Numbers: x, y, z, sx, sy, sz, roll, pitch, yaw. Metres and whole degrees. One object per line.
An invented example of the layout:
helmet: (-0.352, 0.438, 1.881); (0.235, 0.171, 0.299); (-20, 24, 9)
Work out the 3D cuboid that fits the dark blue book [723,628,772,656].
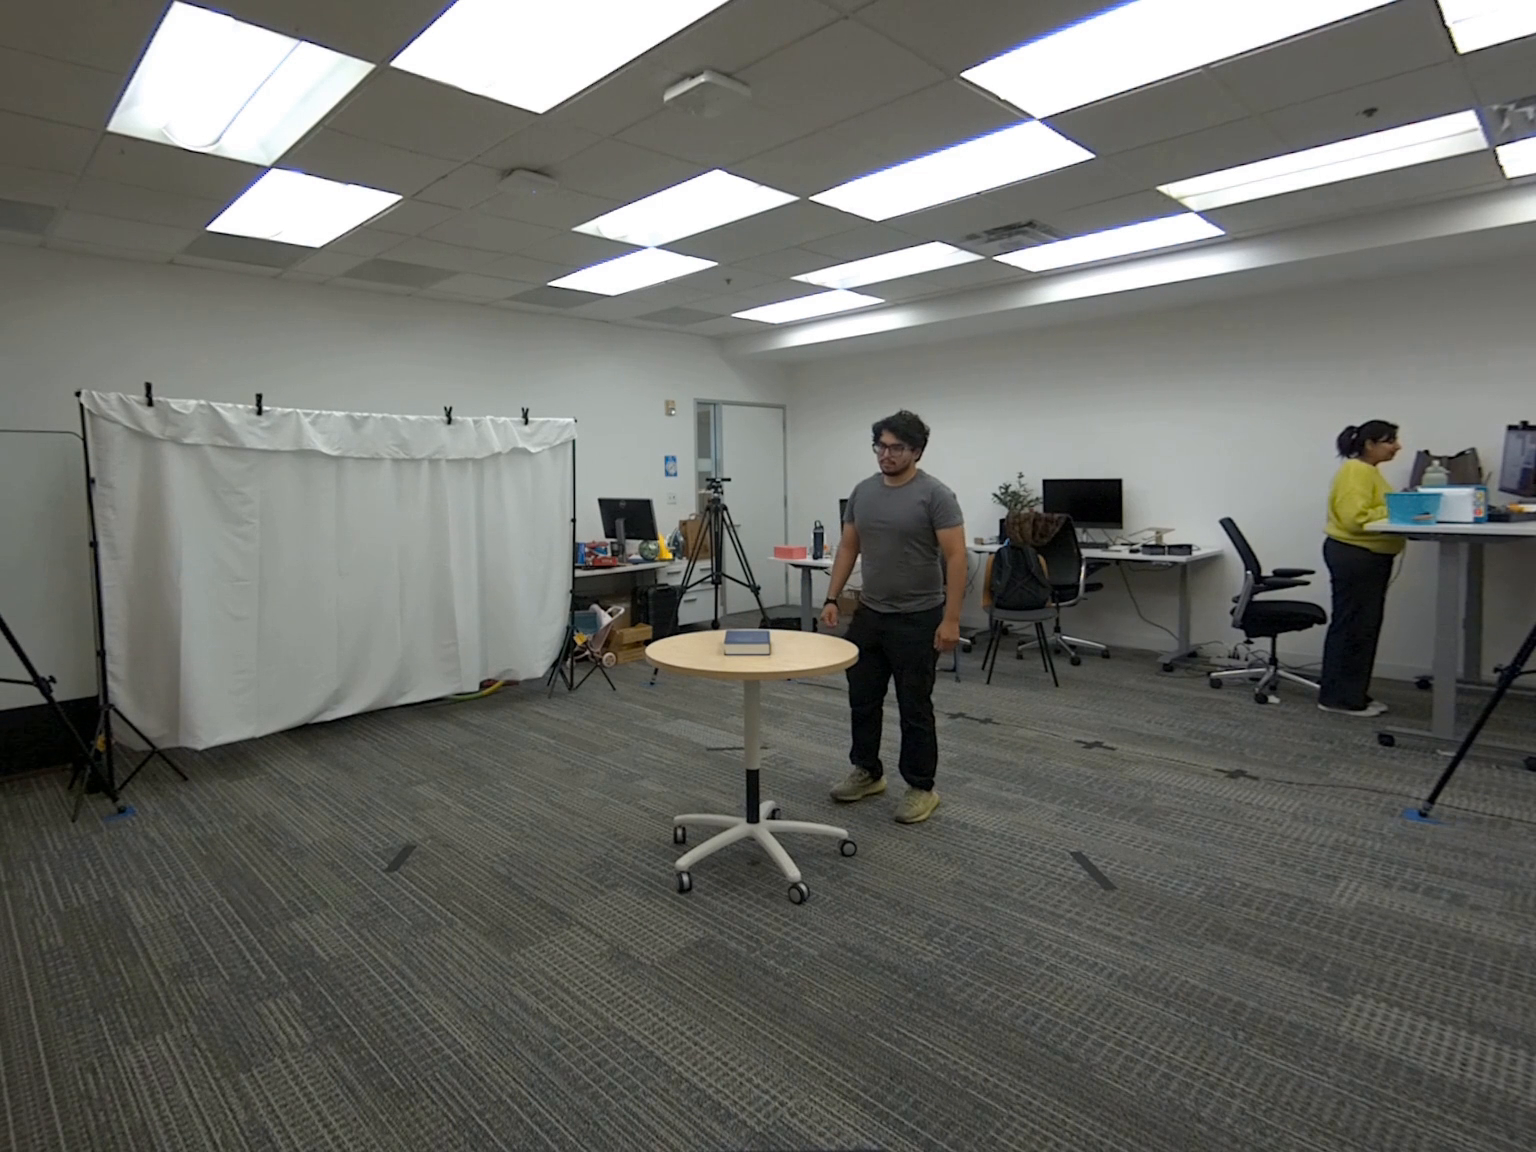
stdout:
dark blue book: (-0.065, 0.242, 3.082); (0.163, 0.045, 0.246); (-1, 6, 0)
